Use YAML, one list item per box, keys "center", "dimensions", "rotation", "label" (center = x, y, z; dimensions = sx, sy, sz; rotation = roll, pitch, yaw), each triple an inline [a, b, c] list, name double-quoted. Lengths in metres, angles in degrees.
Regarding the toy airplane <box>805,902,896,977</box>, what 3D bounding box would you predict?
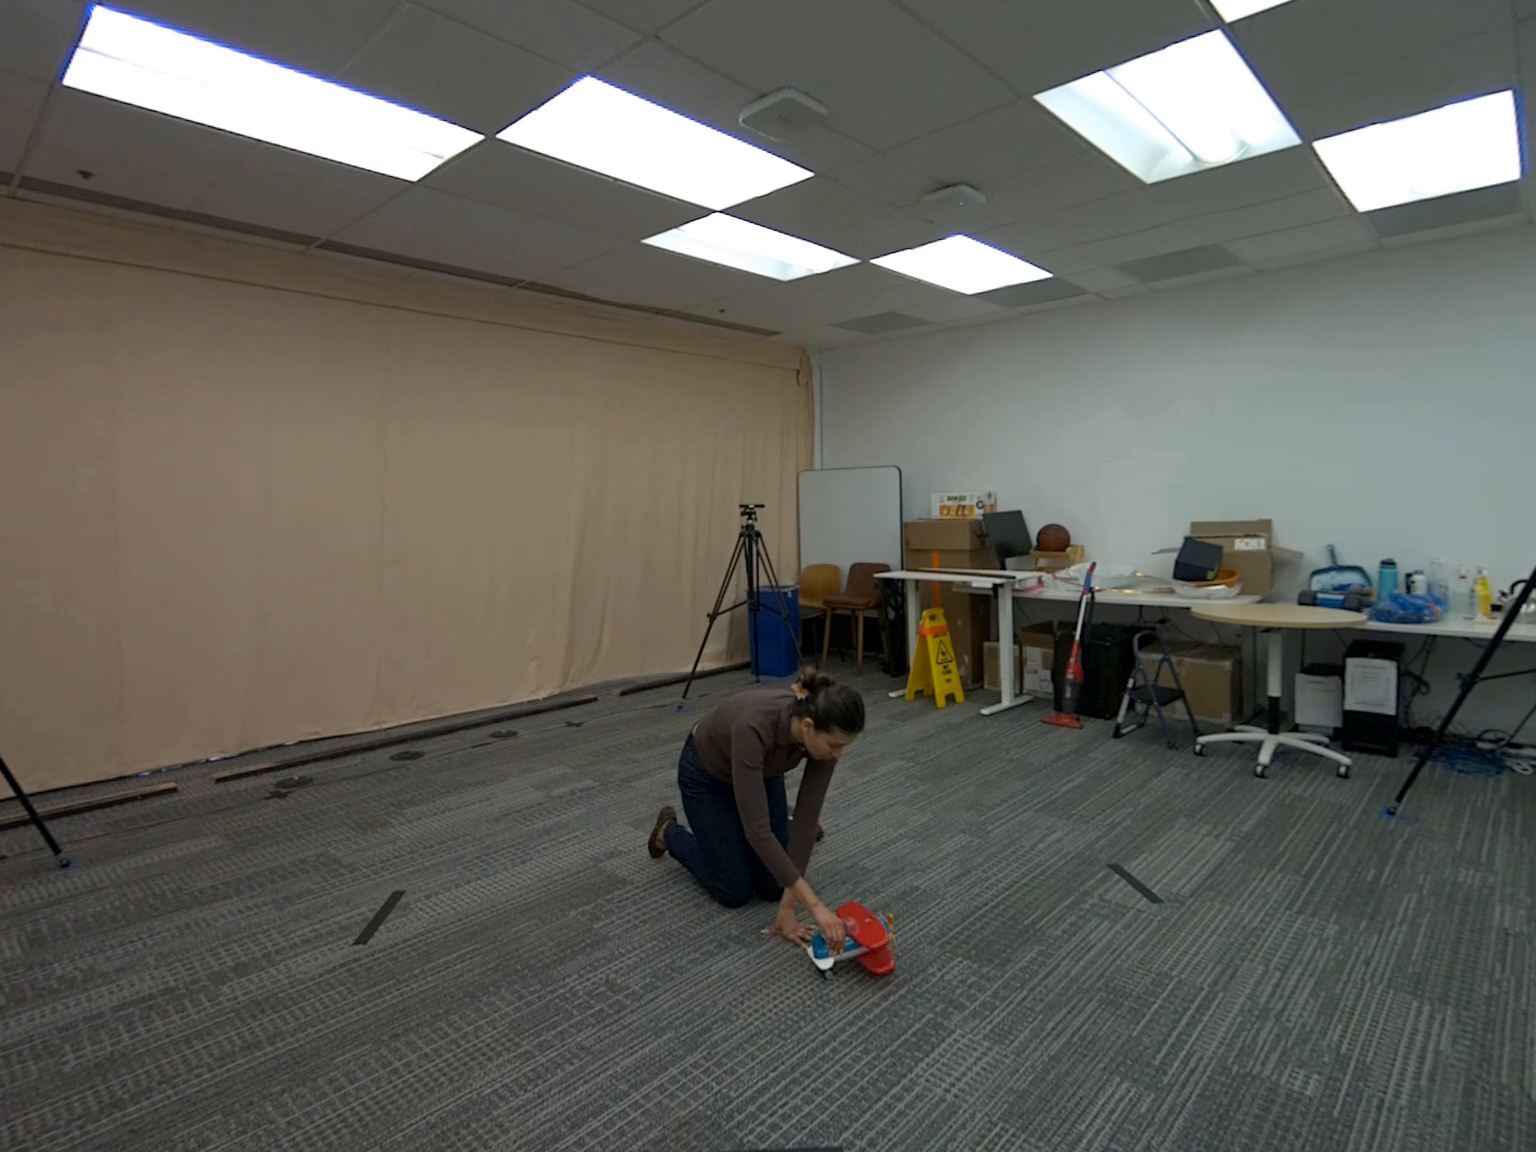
- center: [0.268, 1.105, 2.487]
  dimensions: [0.259, 0.156, 0.251]
  rotation: [4, 4, 44]
  label: "toy airplane"
